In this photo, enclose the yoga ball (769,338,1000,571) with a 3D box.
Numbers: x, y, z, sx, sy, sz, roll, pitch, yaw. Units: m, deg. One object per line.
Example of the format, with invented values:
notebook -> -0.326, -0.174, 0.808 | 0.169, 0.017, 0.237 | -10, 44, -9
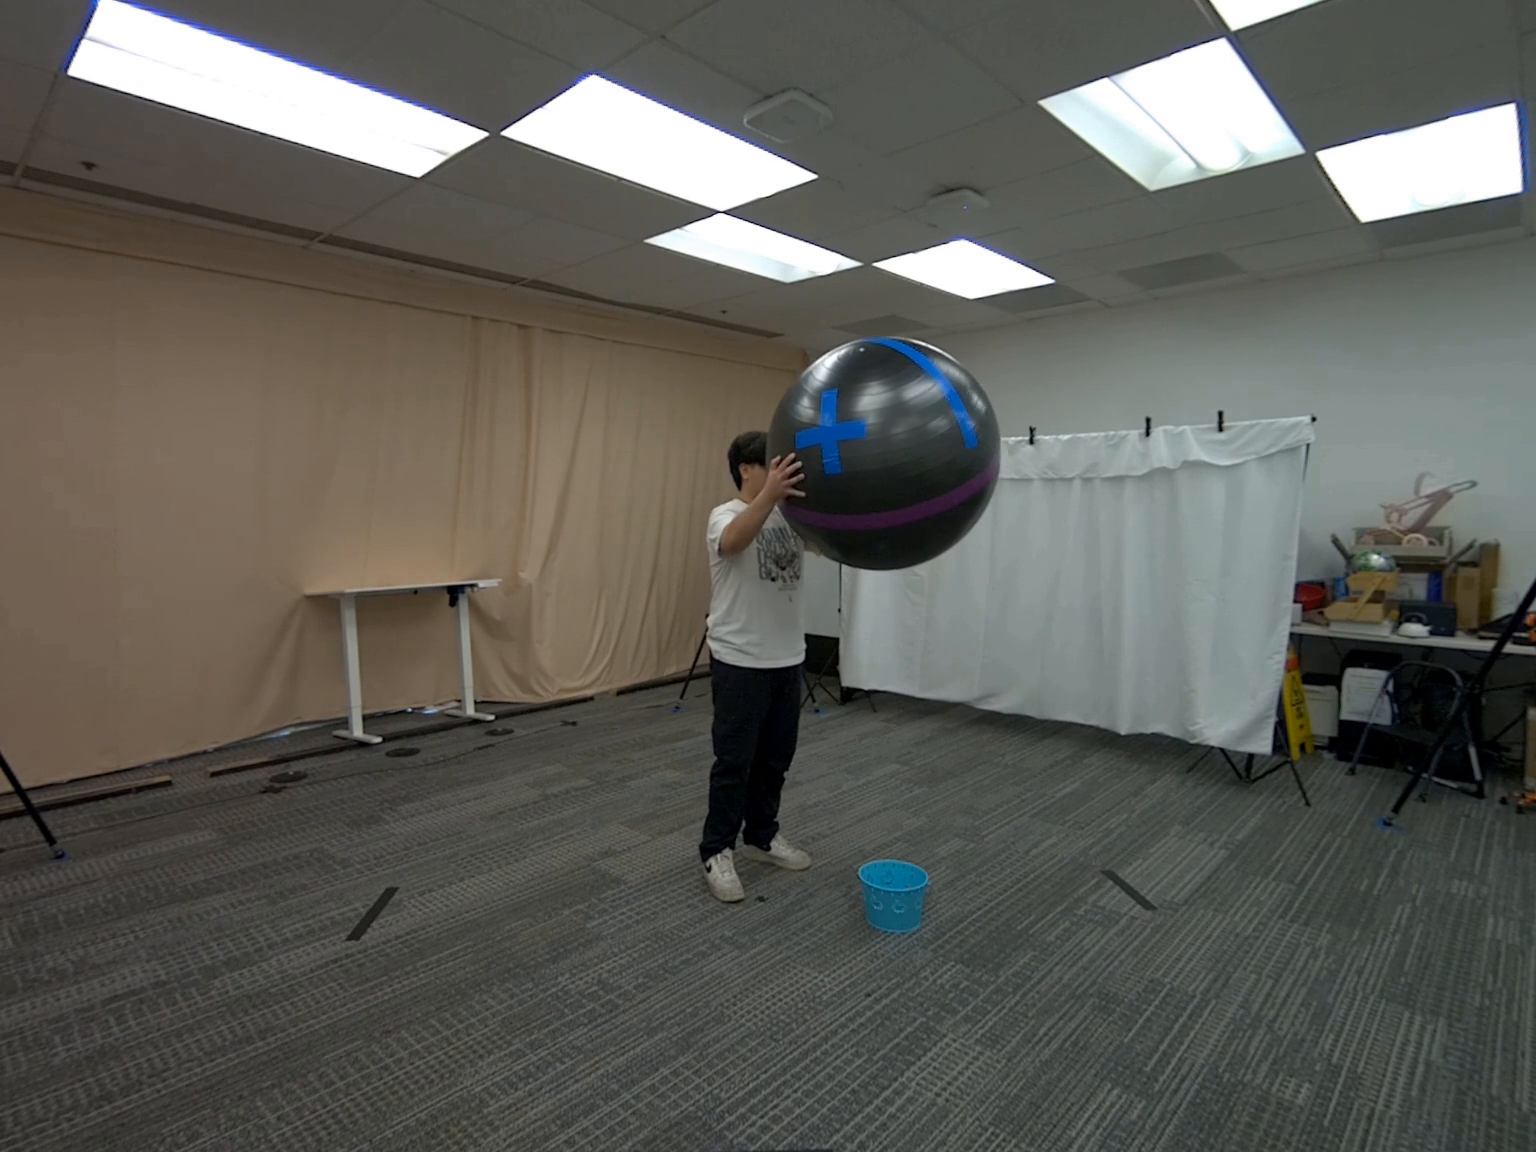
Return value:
yoga ball -> 0.385, -0.393, 2.784 | 0.757, 0.756, 0.760 | 0, 4, -2
